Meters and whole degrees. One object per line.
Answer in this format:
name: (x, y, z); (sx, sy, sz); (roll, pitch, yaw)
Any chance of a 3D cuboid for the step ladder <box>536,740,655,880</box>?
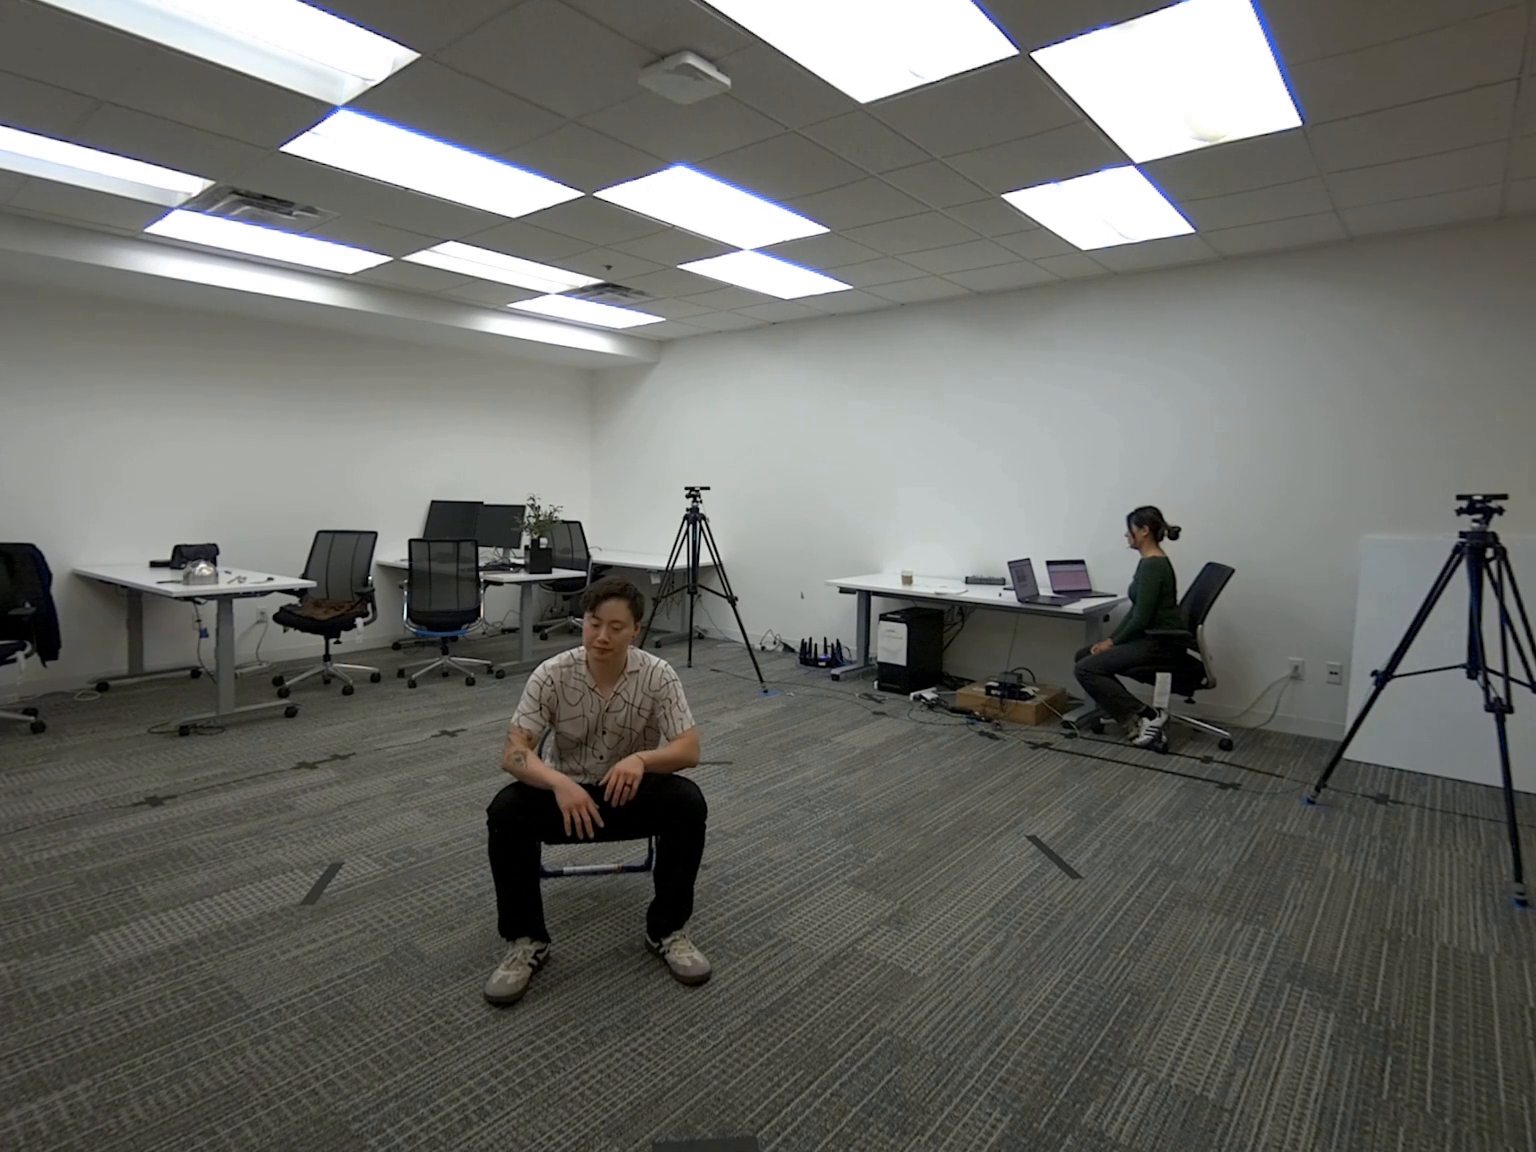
step ladder: (-0.586, 0.783, 2.887); (0.425, 0.604, 0.355); (0, 4, -13)
